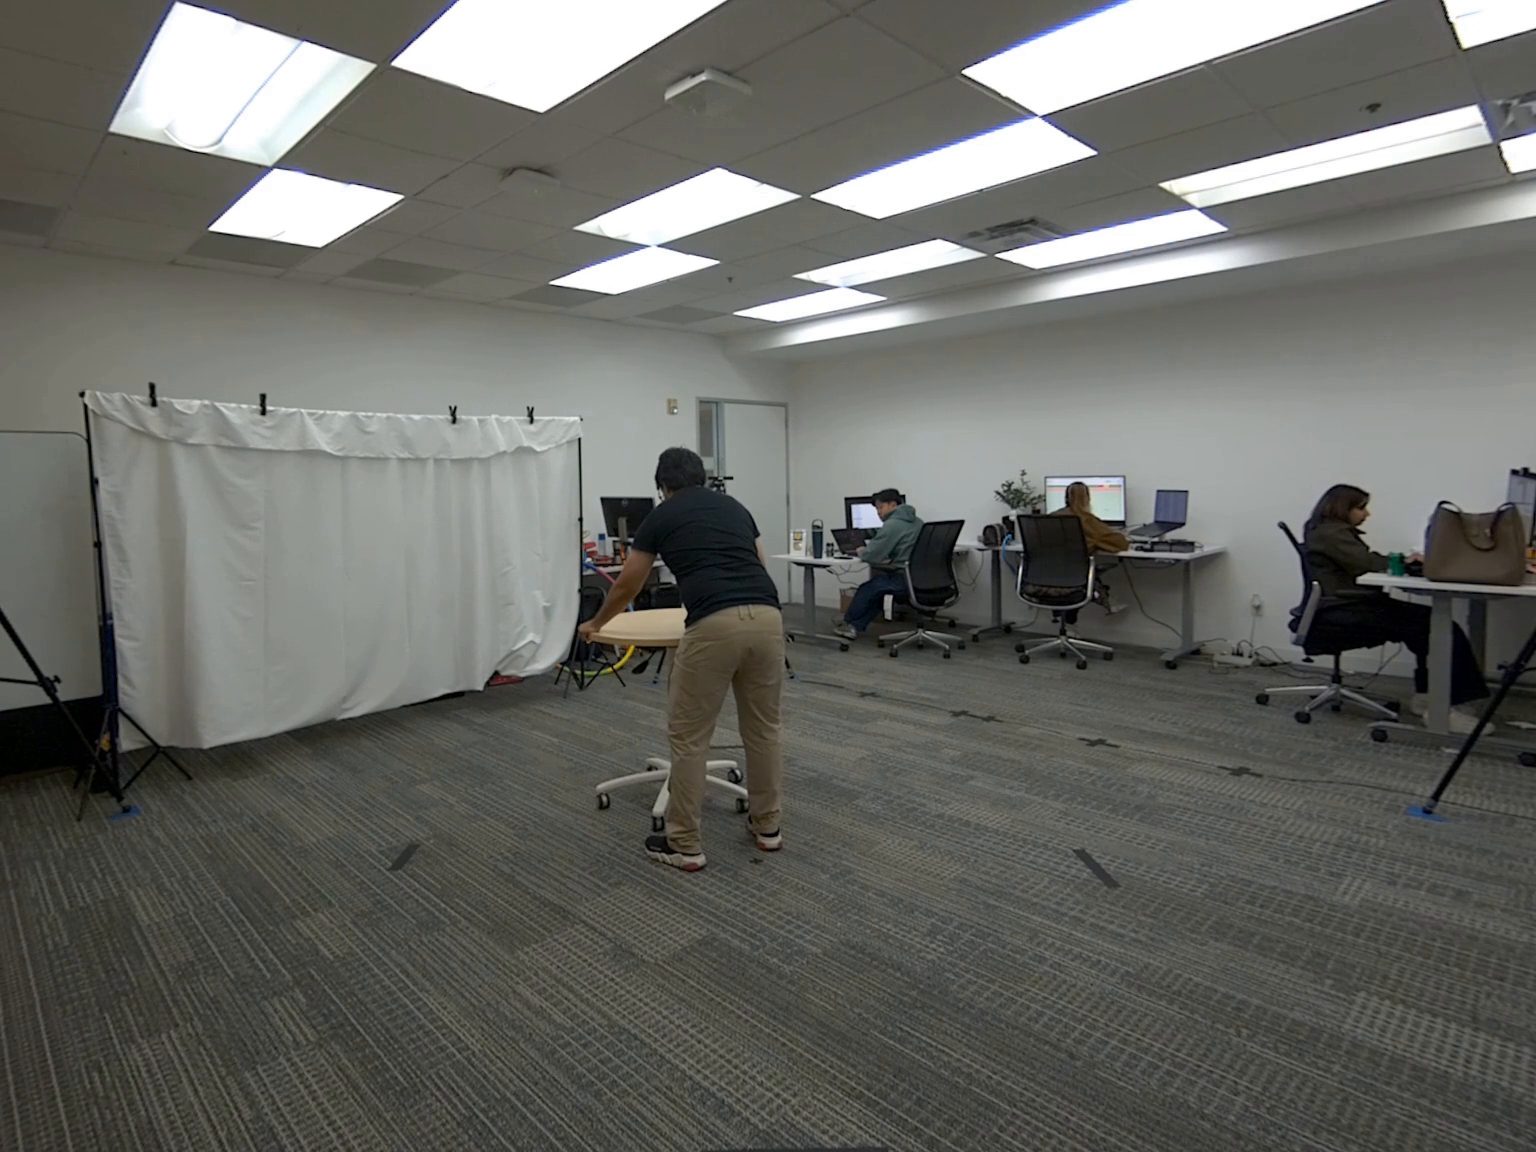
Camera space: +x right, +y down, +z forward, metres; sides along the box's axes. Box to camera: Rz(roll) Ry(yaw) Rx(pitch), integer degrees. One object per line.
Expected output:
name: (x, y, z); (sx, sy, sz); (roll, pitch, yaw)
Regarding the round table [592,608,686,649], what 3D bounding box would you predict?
round table: (-0.382, 0.582, 3.693); (0.784, 0.783, 0.789); (-2, 5, -2)
